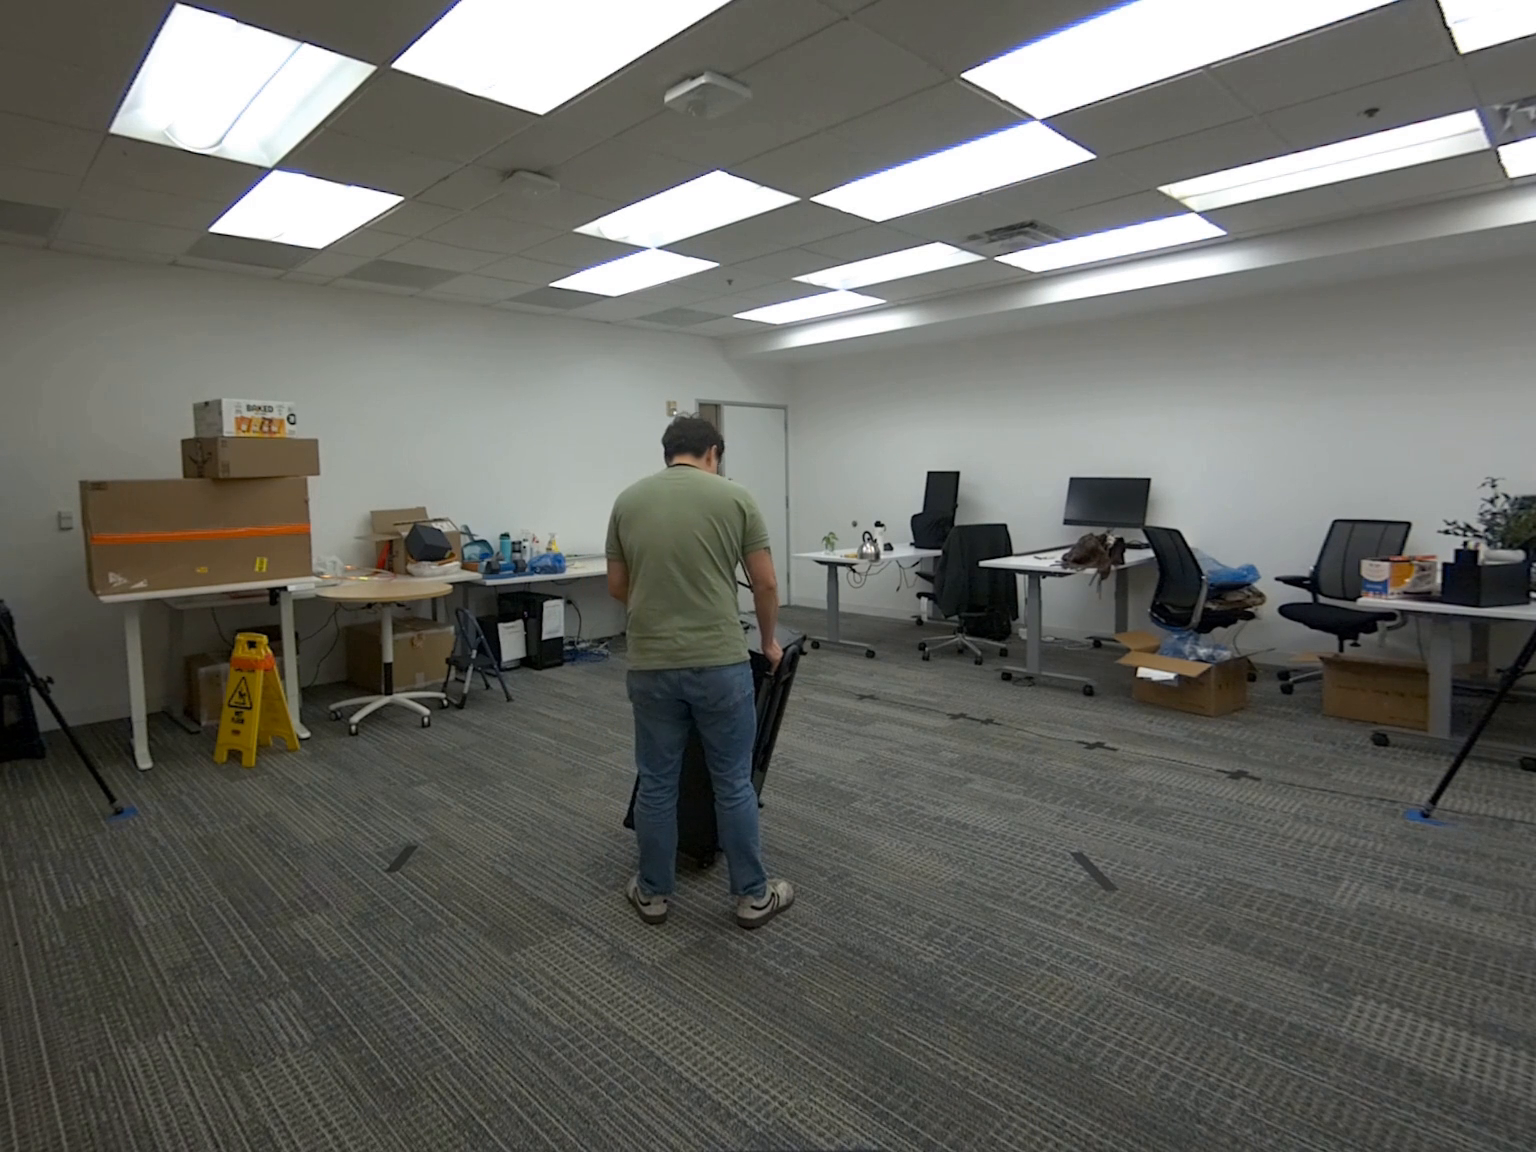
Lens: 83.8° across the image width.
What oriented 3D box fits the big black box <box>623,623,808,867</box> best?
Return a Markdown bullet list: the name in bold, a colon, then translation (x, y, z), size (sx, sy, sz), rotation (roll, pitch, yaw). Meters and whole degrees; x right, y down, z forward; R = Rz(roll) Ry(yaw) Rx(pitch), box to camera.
- **big black box**: translation (-0.182, 0.598, 3.192), size (0.405, 0.857, 0.513), rotation (19, 9, 17)
